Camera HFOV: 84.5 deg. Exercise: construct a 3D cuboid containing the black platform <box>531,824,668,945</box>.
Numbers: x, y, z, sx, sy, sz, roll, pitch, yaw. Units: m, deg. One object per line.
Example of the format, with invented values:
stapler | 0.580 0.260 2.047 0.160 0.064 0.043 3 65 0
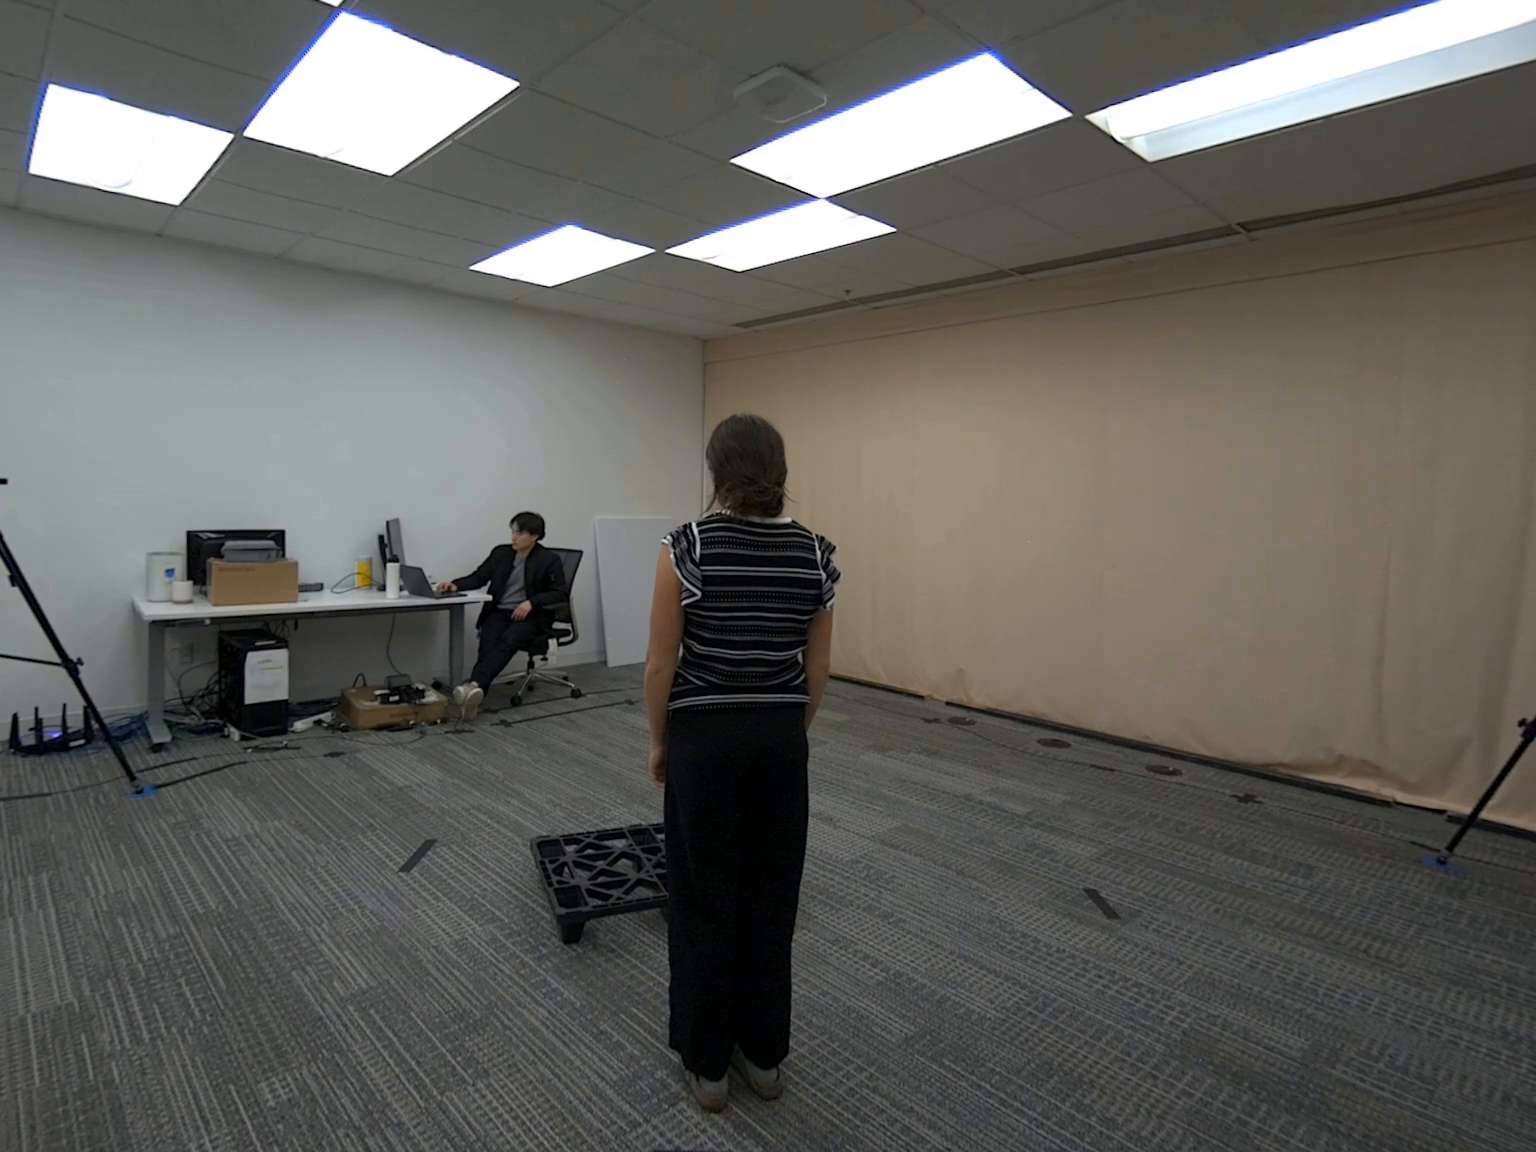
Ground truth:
black platform | -0.399 1.047 2.946 0.793 0.143 0.616 -1 5 -22
